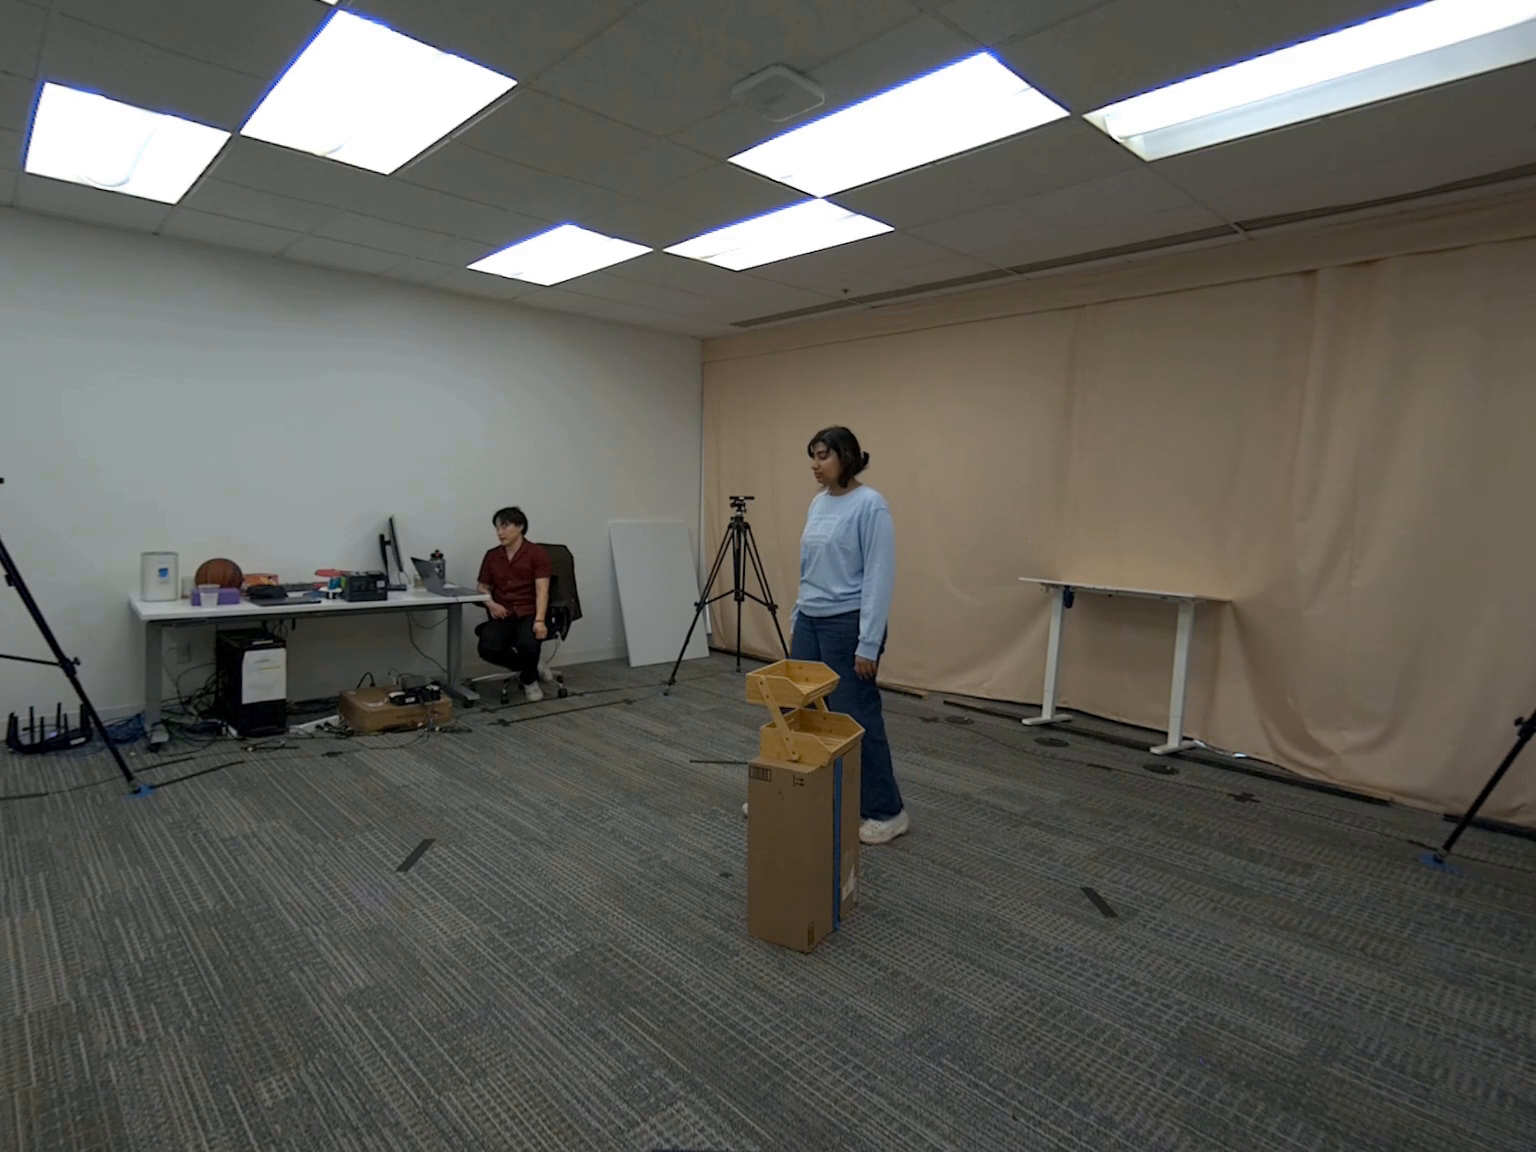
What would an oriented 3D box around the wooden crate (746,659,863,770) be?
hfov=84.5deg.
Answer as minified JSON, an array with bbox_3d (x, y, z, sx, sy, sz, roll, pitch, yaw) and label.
[{"bbox_3d":[0.132,0.442,2.789,0.308,0.273,0.319,2,4,27],"label":"wooden crate"}]
